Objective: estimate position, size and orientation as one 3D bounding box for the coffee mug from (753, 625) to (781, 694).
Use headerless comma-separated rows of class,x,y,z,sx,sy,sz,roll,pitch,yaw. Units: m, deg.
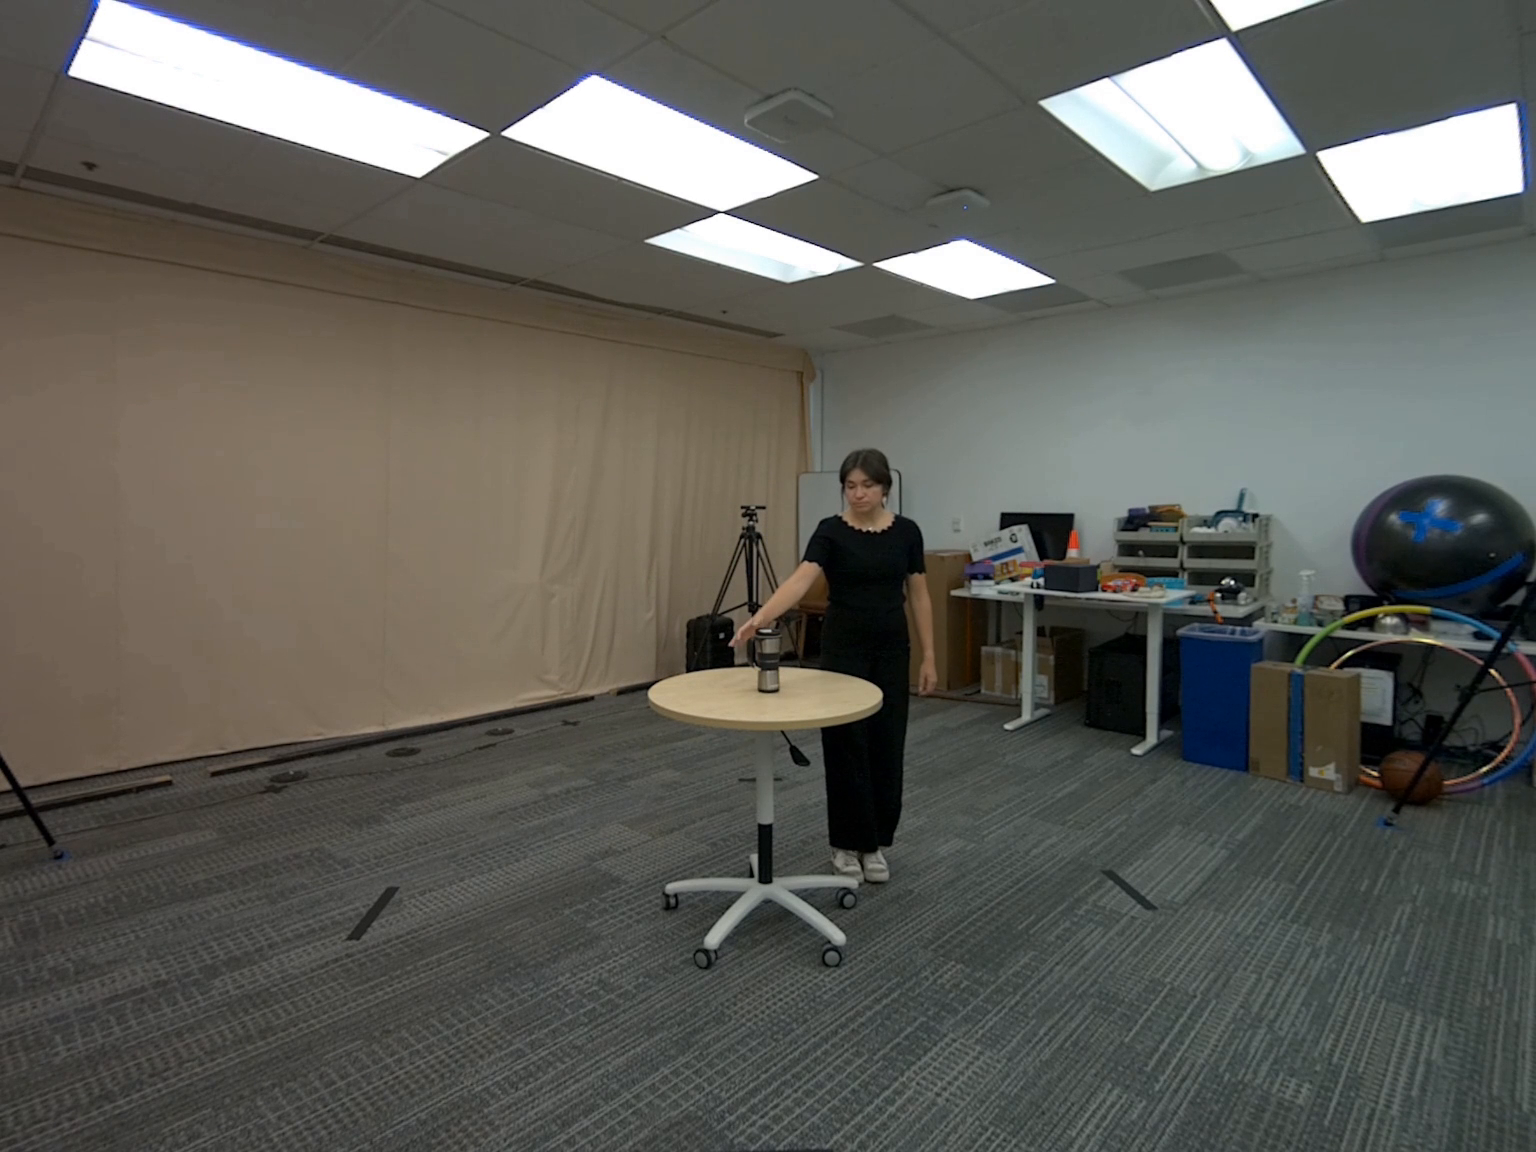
coffee mug,-0.007,0.278,2.772,0.085,0.202,0.126,-5,9,-39
